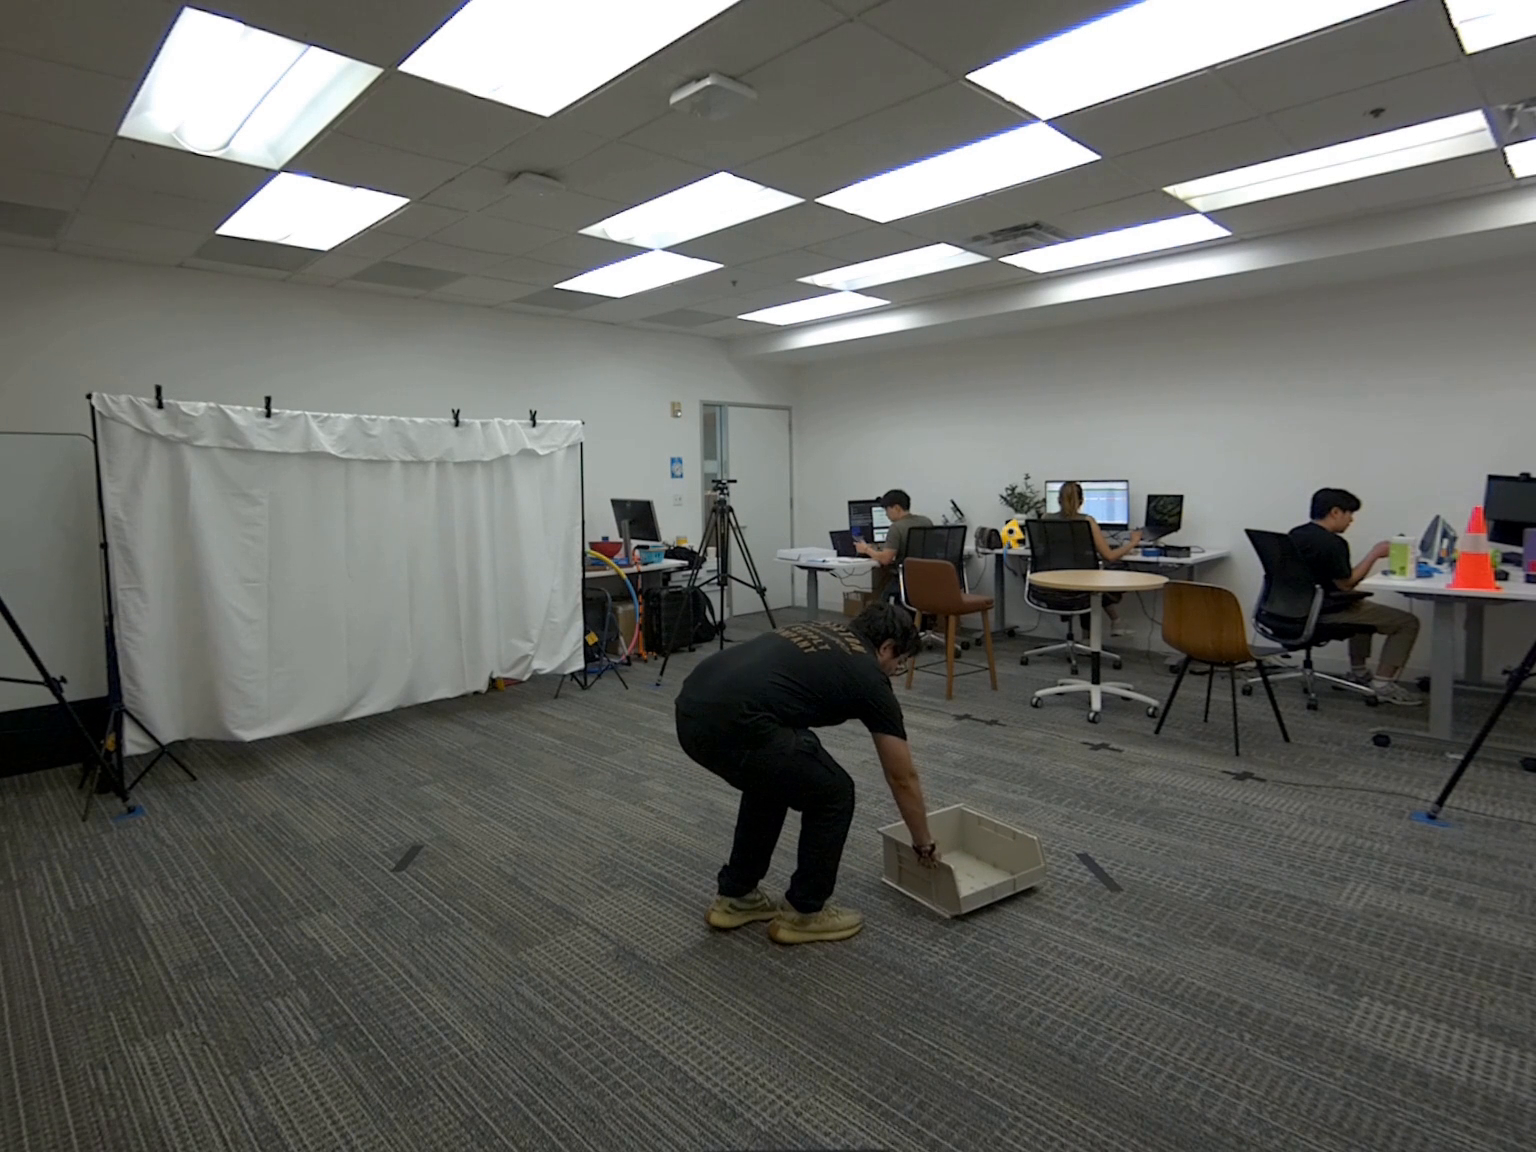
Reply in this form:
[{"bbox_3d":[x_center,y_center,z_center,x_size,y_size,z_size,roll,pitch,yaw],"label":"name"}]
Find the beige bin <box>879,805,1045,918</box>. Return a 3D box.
[{"bbox_3d":[0.662,0.969,2.909,0.412,0.188,0.388,-5,6,-33],"label":"beige bin"}]
